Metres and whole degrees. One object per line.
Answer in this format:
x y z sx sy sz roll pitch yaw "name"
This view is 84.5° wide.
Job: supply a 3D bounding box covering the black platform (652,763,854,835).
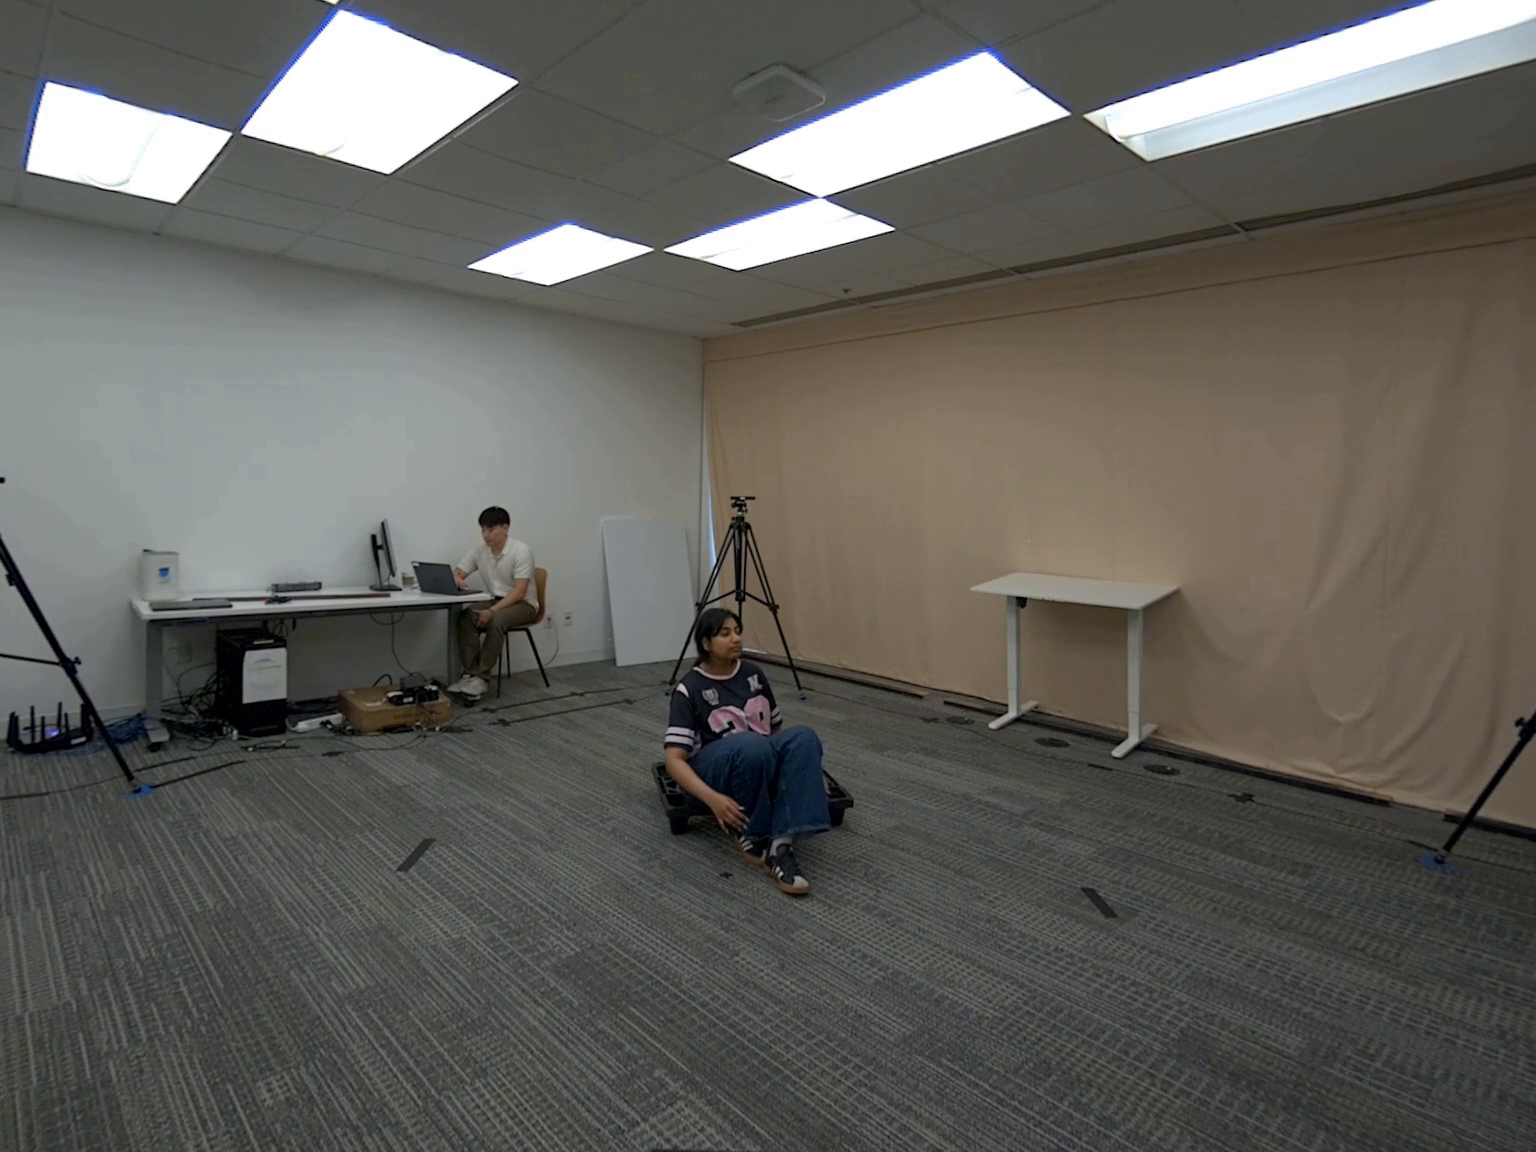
-0.096 0.981 3.769 0.798 0.143 0.612 -1 5 -12 "black platform"
